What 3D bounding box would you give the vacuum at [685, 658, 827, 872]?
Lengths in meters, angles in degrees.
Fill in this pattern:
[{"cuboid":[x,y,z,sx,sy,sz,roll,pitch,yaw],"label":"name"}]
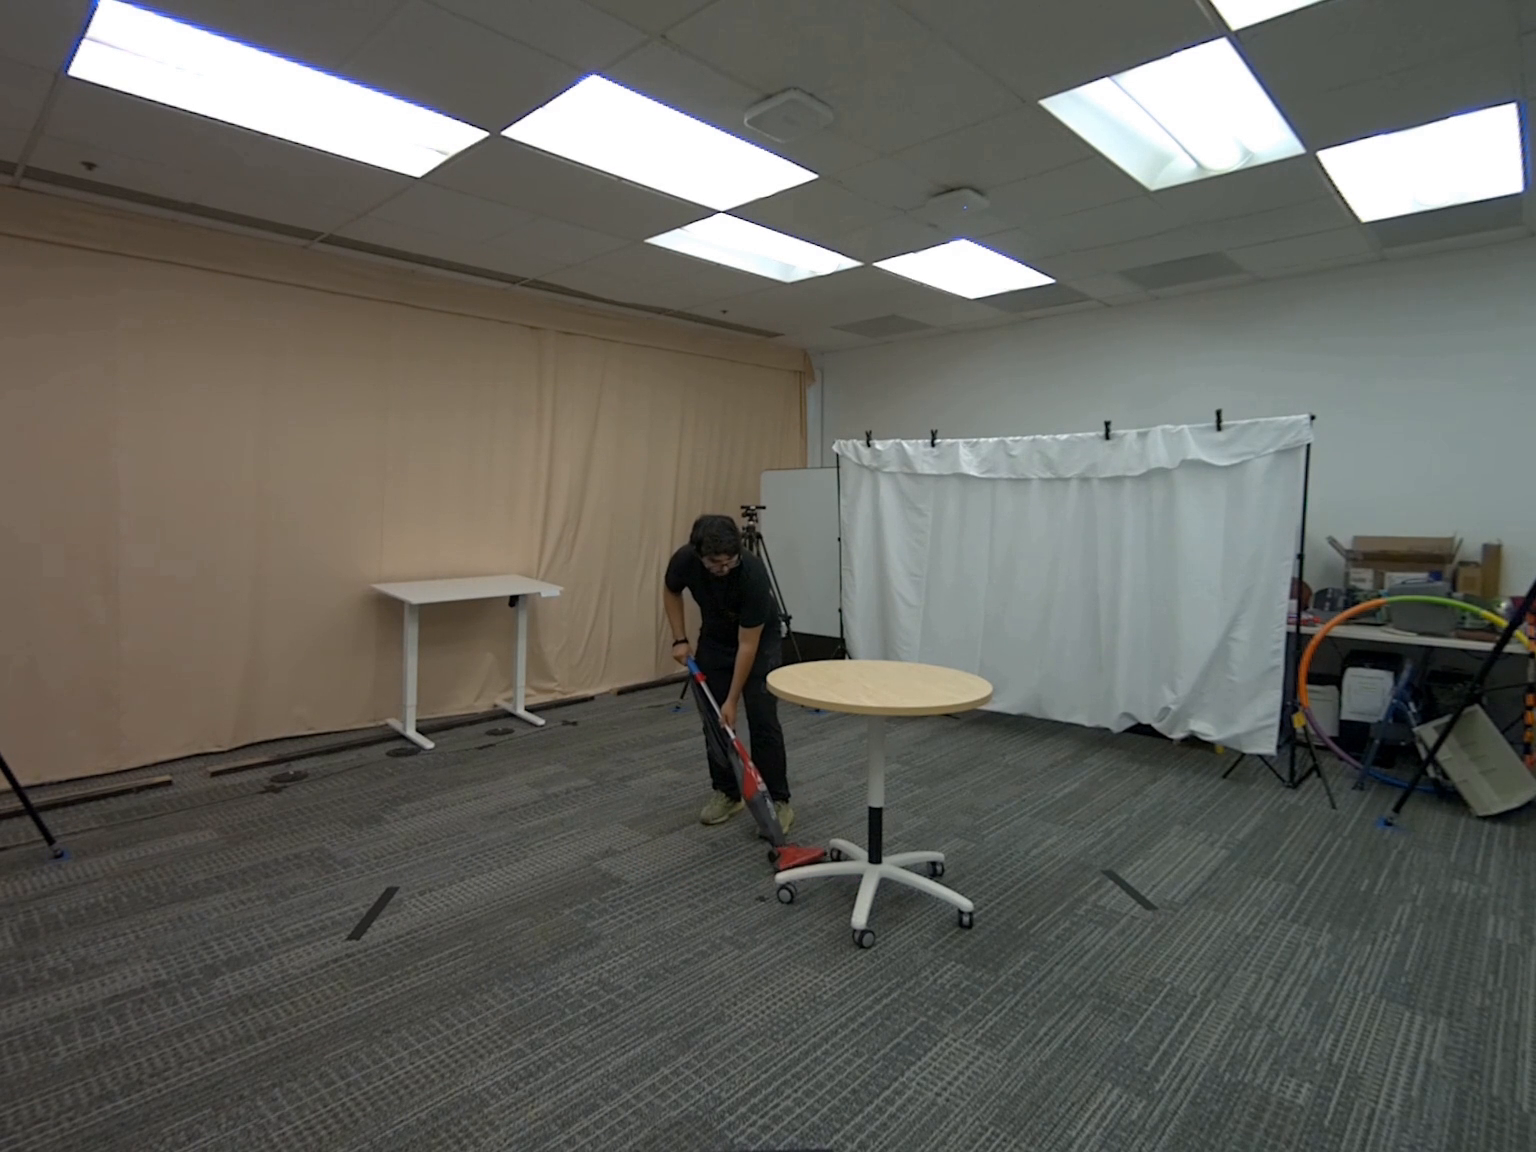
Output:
[{"cuboid":[-0.154,0.710,3.543,0.245,0.144,1.081,-5,49,-40],"label":"vacuum"}]
